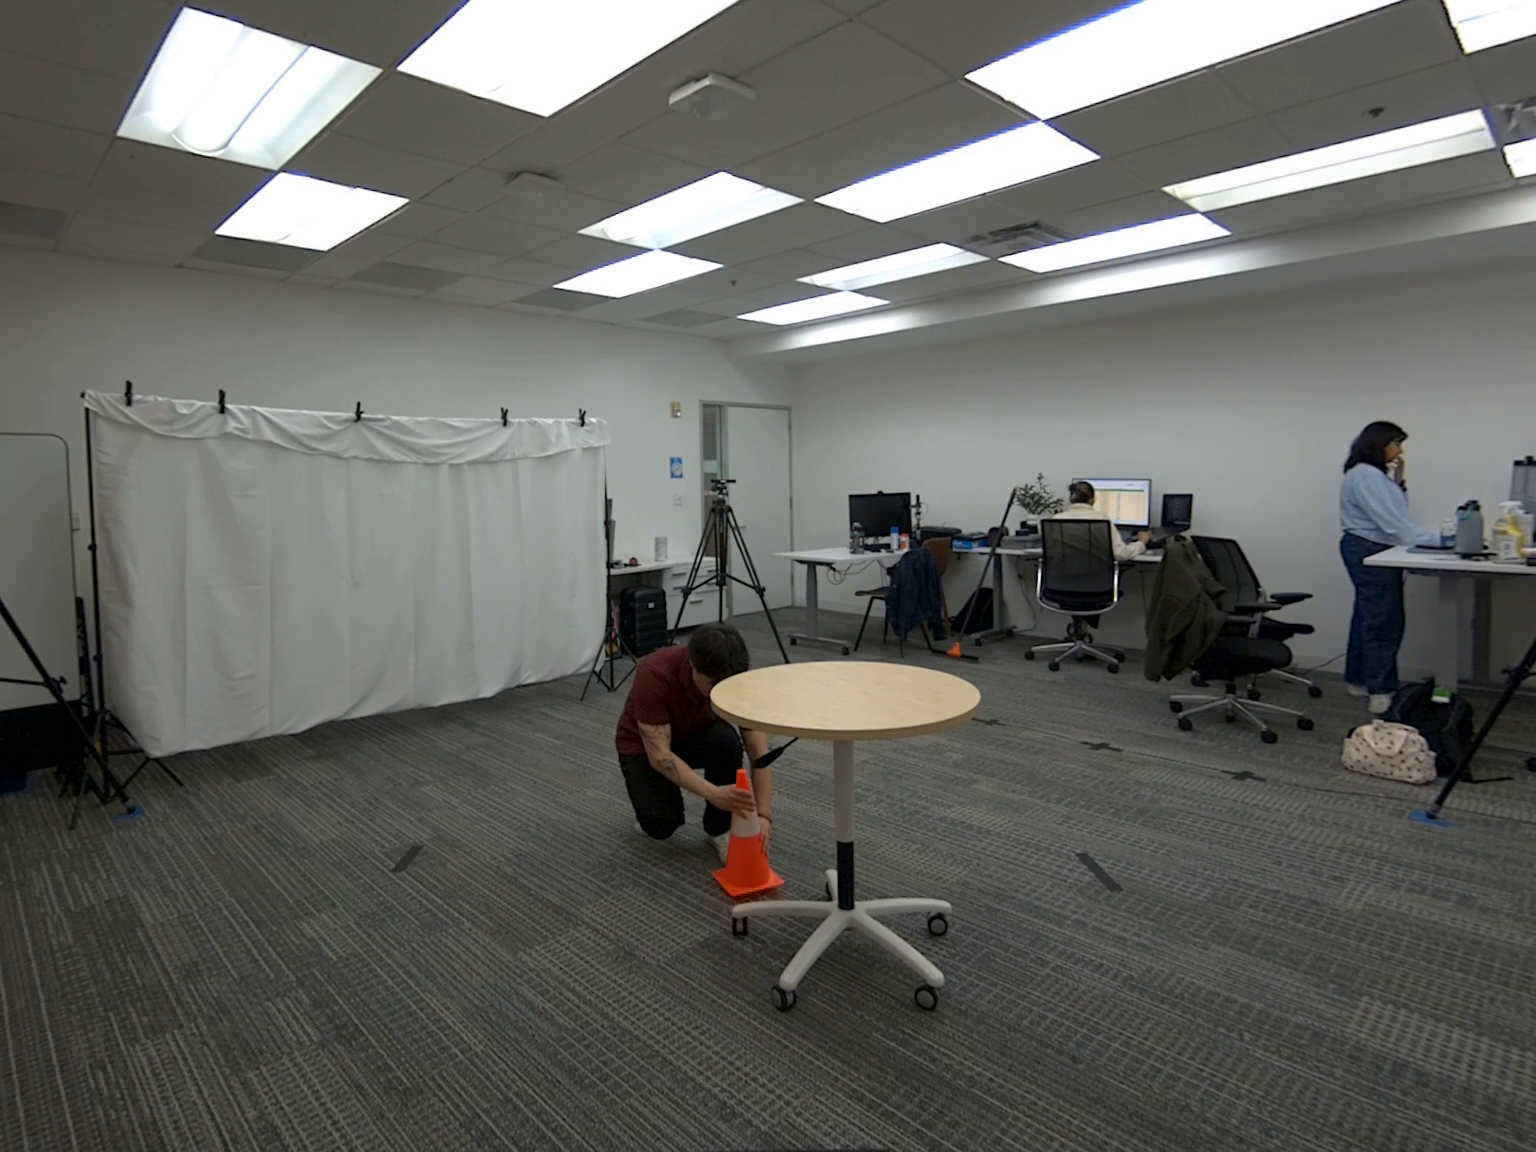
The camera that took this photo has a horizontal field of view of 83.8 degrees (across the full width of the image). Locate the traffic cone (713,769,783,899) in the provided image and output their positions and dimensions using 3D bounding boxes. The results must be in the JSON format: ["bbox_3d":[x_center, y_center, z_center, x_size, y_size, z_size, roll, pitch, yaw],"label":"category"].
[{"bbox_3d":[-0.087,0.861,2.935,0.202,0.382,0.207,-5,4,-19],"label":"traffic cone"}]
